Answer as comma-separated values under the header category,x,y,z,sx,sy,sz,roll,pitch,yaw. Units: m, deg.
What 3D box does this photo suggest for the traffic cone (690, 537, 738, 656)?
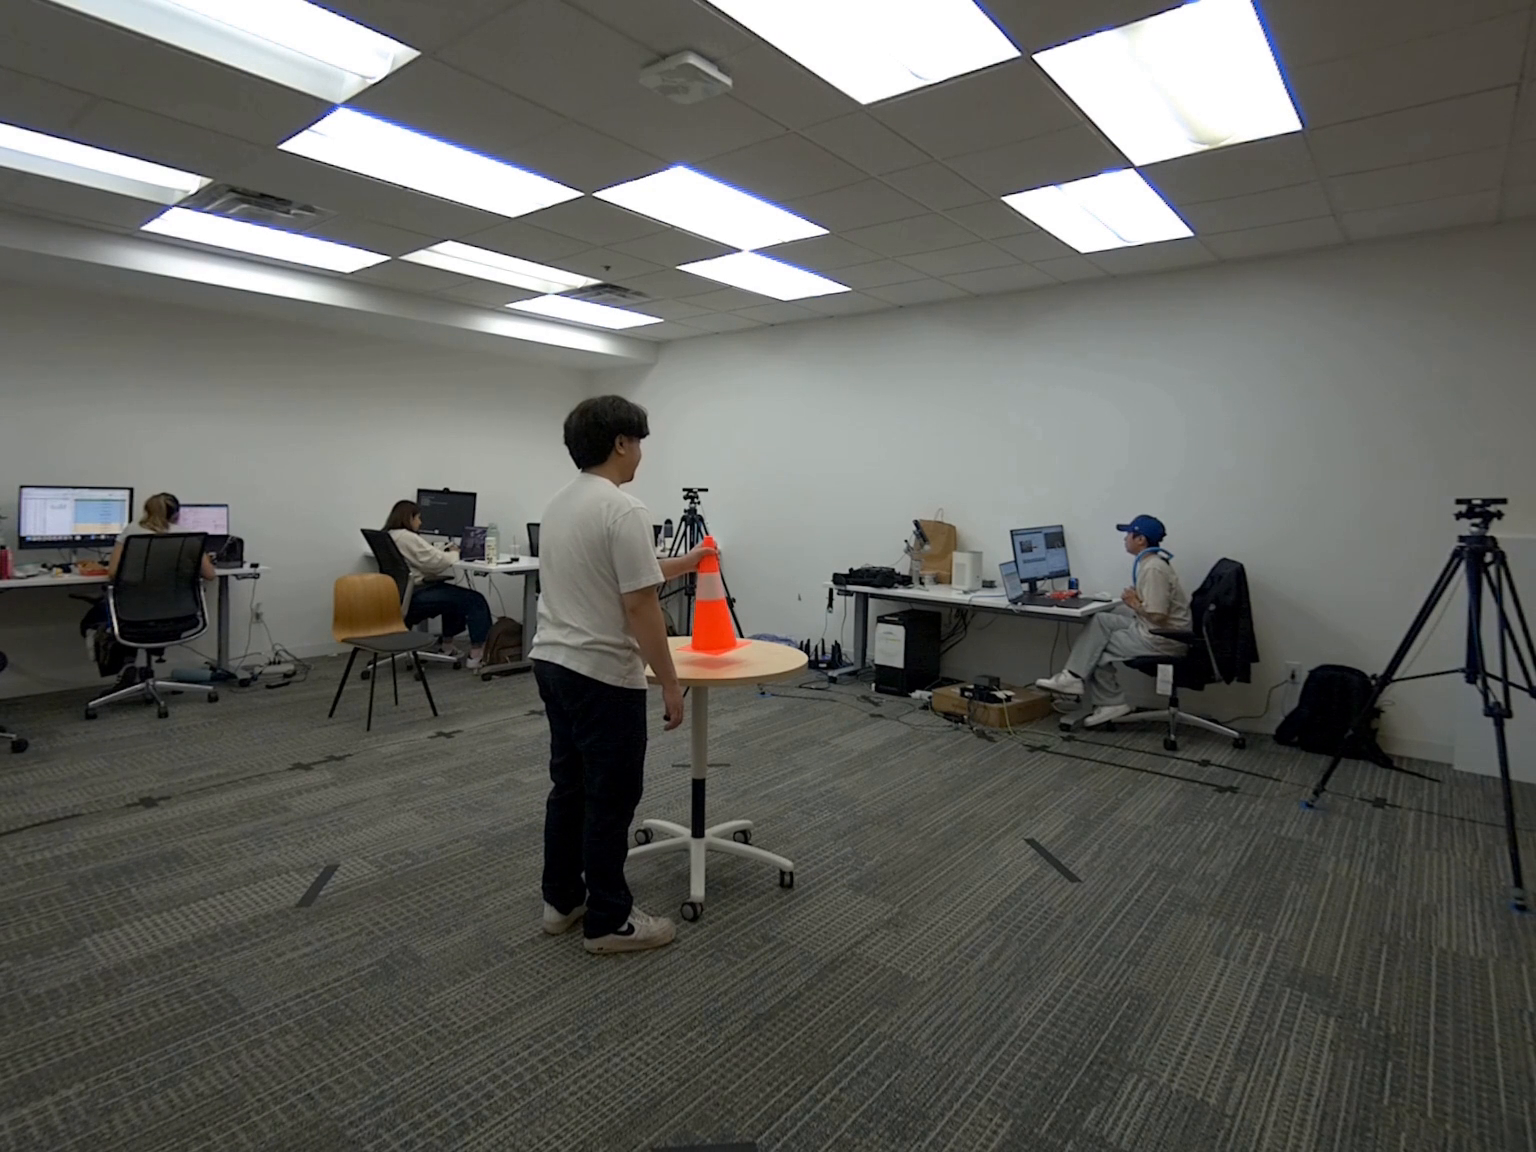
category,x,y,z,sx,sy,sz,roll,pitch,yaw
traffic cone,-0.205,0.056,2.904,0.210,0.382,0.199,-1,5,30
